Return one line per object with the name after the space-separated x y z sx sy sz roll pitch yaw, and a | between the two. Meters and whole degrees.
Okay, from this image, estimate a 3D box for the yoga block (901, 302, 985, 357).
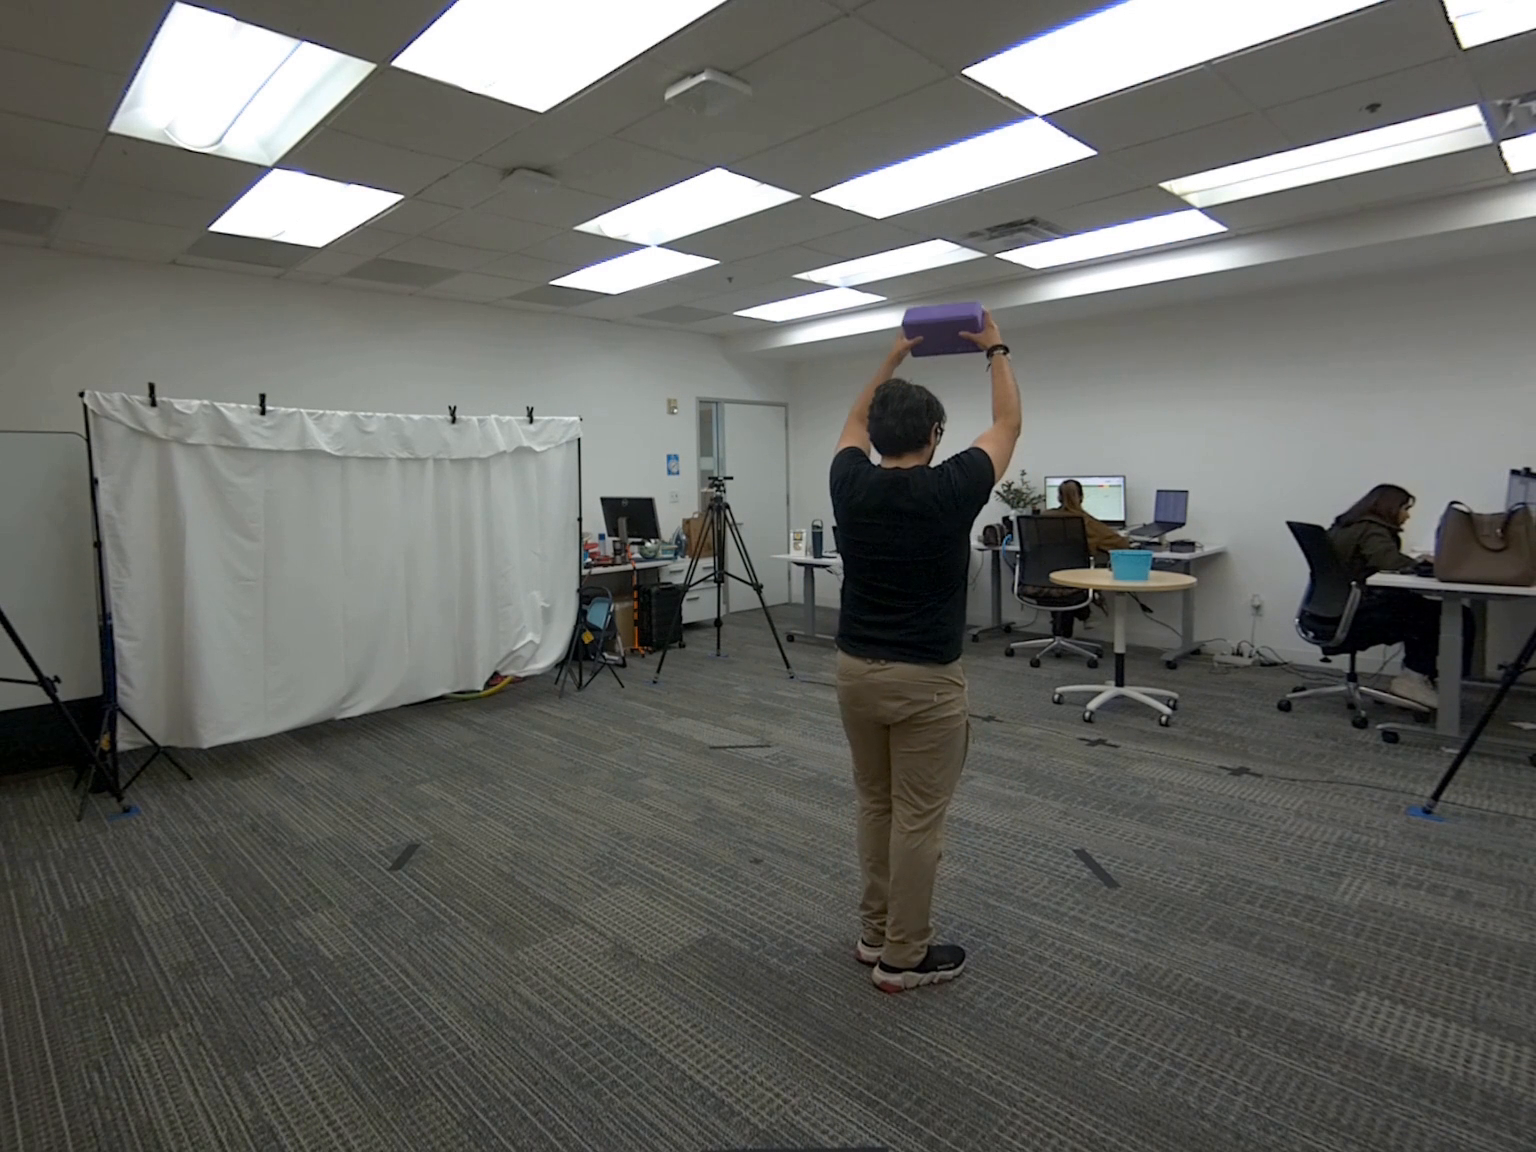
0.548 -0.745 2.600 0.235 0.077 0.143 3 -36 29 | yoga block
